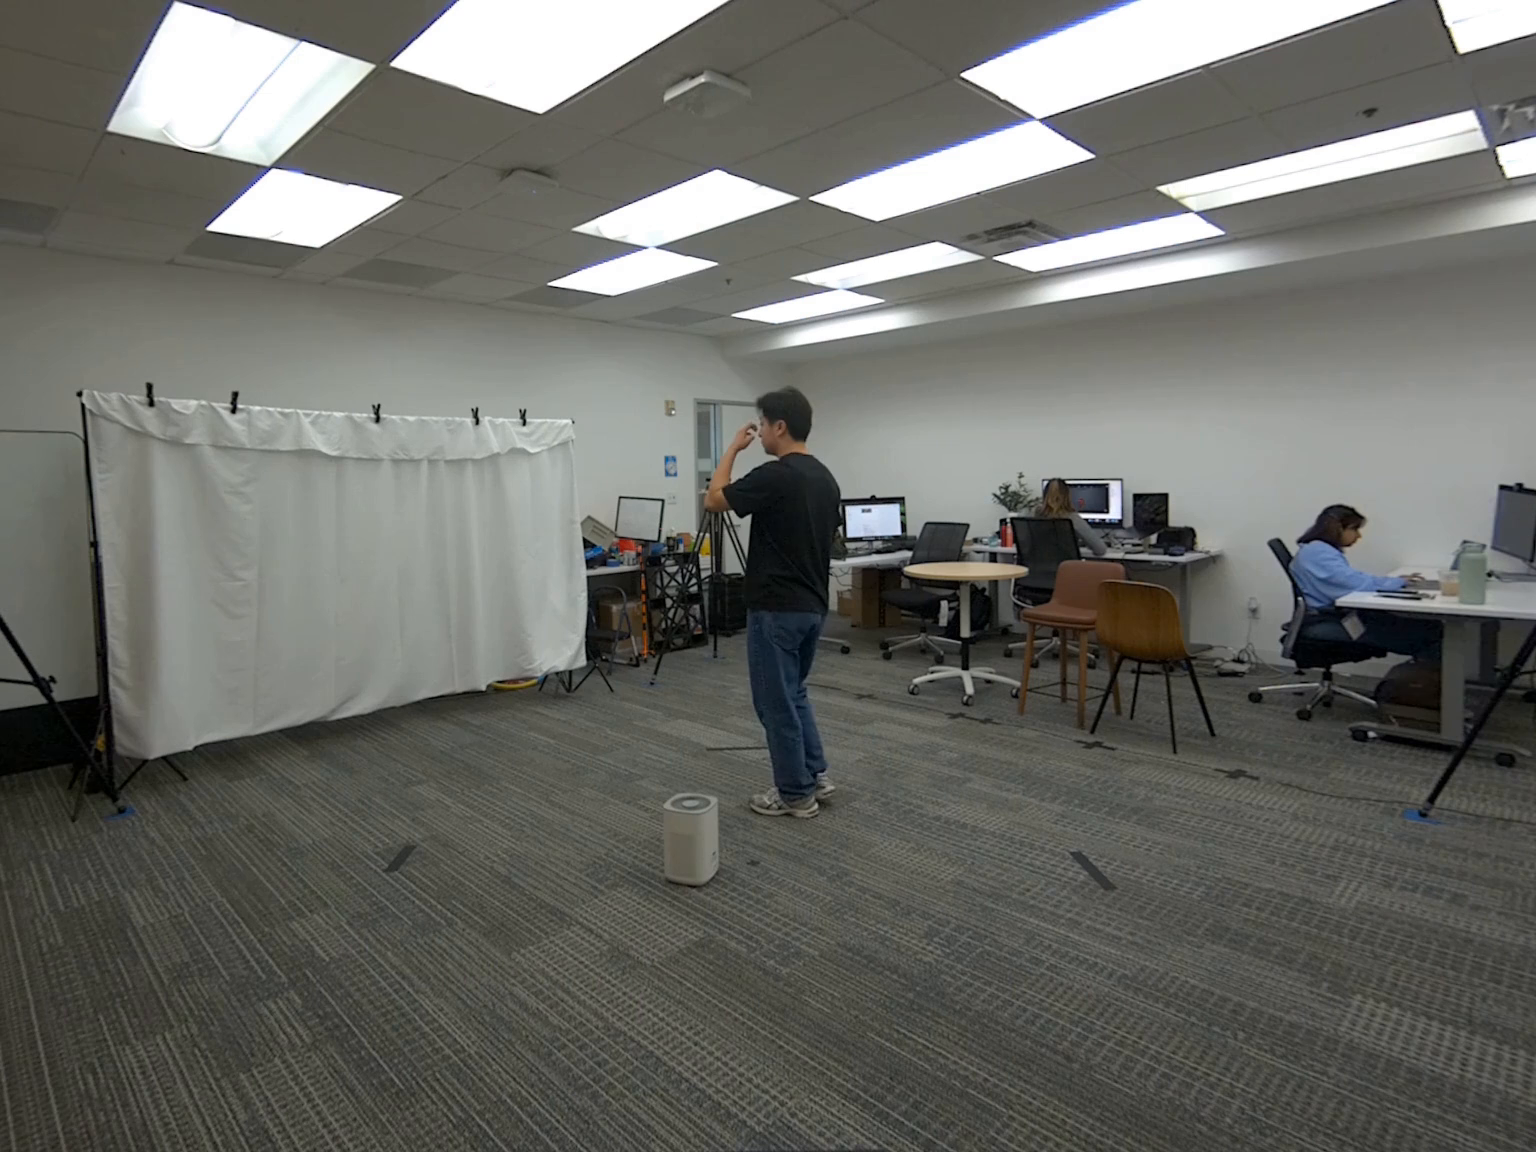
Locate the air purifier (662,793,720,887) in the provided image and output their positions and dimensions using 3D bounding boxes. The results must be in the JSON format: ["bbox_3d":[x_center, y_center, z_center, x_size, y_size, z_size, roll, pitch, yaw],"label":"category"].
[{"bbox_3d":[-0.263,0.922,2.999,0.175,0.264,0.168,1,4,20],"label":"air purifier"}]
